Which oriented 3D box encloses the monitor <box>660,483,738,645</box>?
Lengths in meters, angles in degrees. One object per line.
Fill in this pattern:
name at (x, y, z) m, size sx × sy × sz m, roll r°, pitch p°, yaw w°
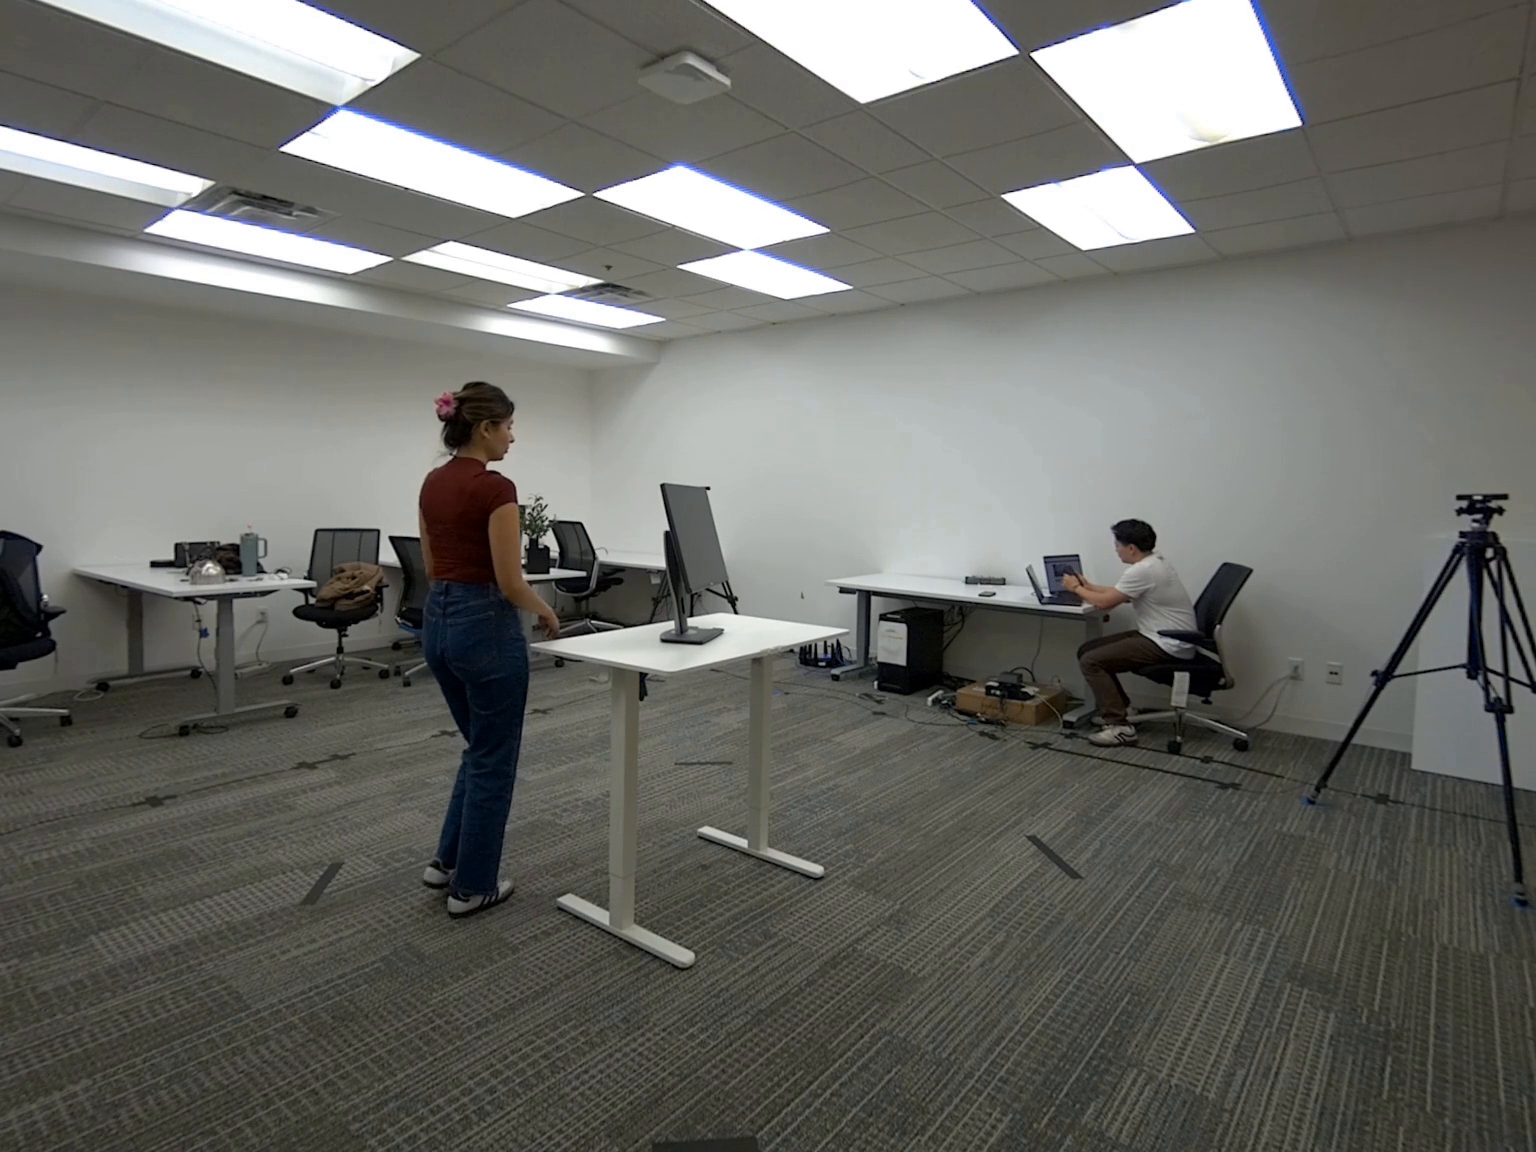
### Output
monitor at (-0.276, -0.046, 2.881) m, size 0.189 × 0.521 × 0.534 m, roll 0°, pitch 3°, yaw 9°
